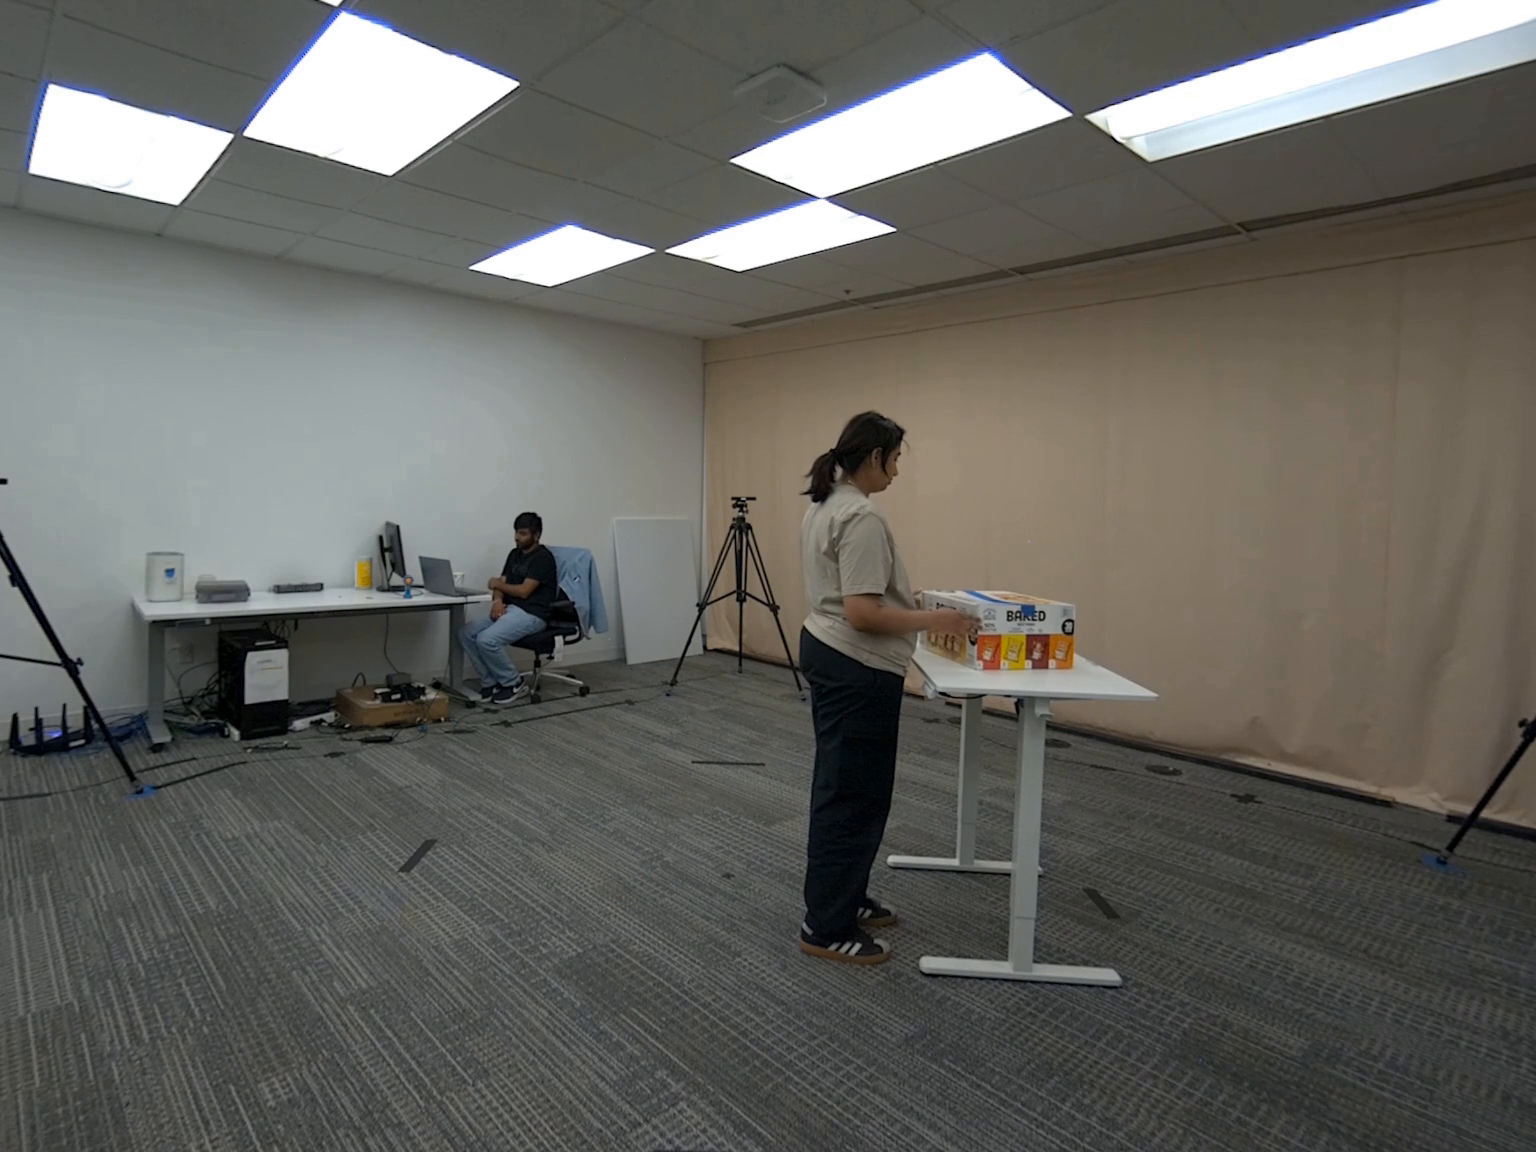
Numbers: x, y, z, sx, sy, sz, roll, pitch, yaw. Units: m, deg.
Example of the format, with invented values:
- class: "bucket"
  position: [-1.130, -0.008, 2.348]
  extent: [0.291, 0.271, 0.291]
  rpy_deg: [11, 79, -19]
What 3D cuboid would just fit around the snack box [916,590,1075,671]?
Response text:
- class: "snack box"
  position: [0.744, 0.174, 2.814]
  extent: [0.337, 0.205, 0.411]
  rpy_deg: [1, 5, -14]
